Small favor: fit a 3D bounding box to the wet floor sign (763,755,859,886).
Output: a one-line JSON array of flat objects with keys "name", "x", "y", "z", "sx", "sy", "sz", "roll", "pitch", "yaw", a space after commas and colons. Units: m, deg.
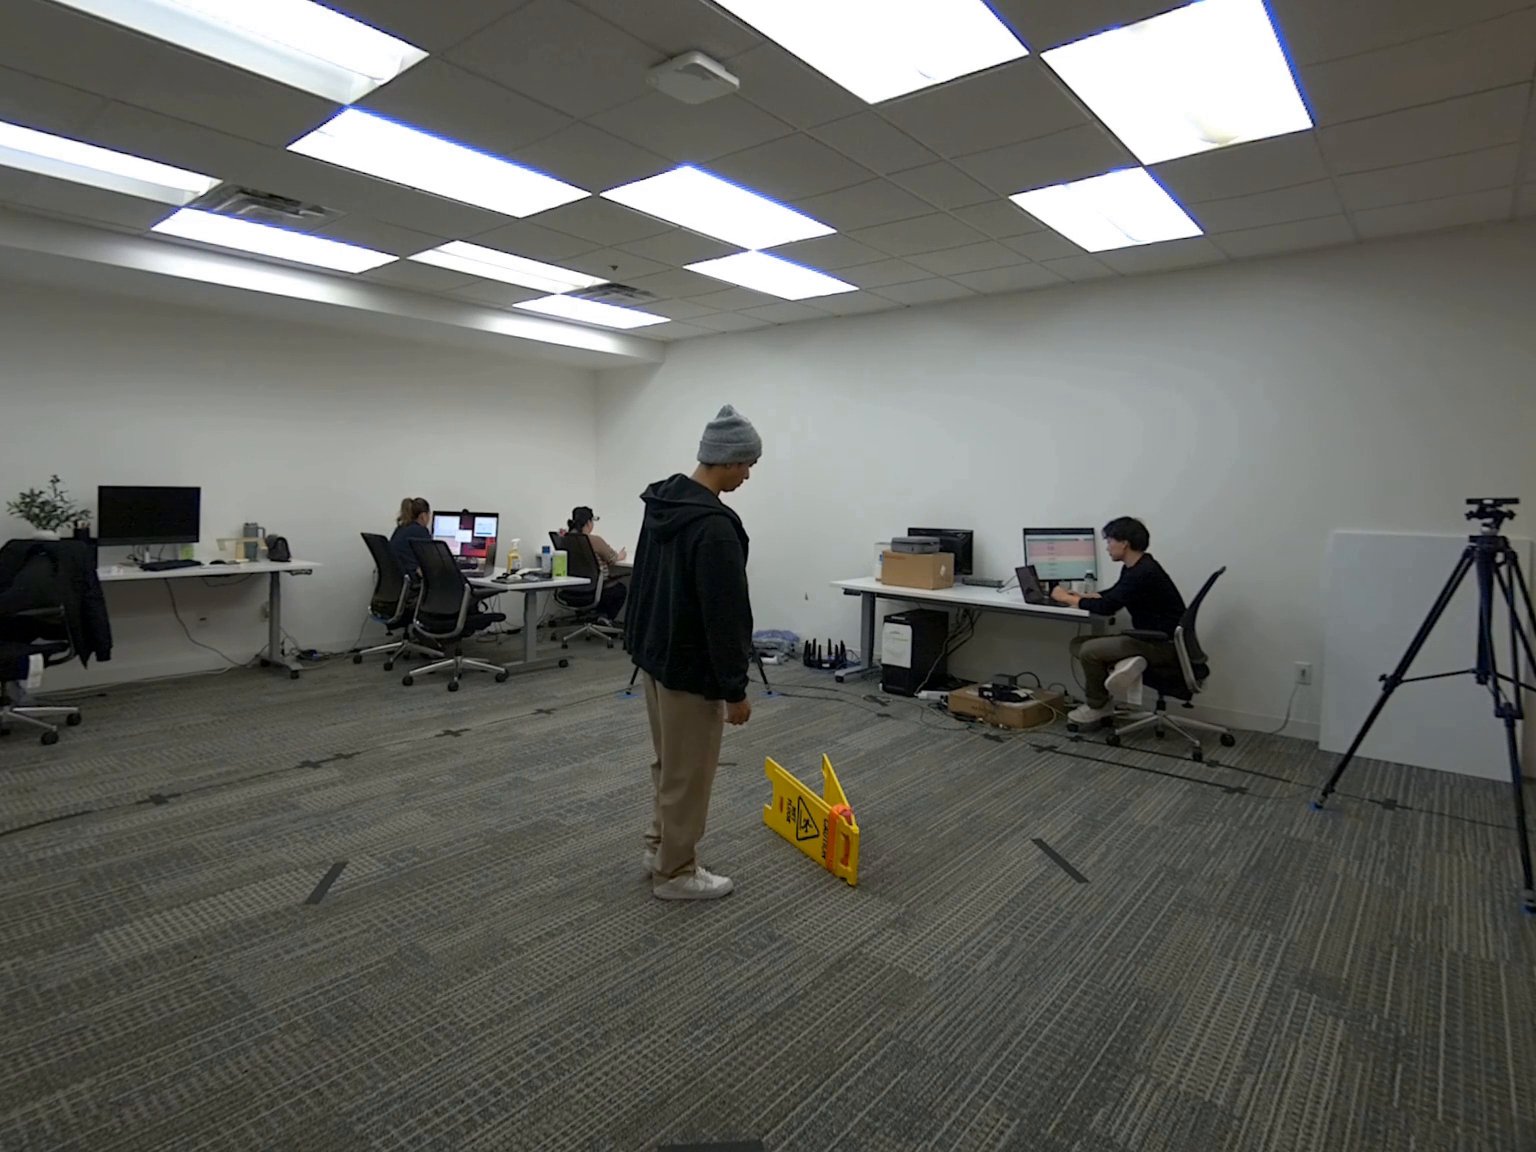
[{"name": "wet floor sign", "x": 0.205, "y": 0.933, "z": 3.277, "sx": 0.285, "sy": 0.280, "sz": 0.662, "roll": 0, "pitch": 9, "yaw": -17}]
